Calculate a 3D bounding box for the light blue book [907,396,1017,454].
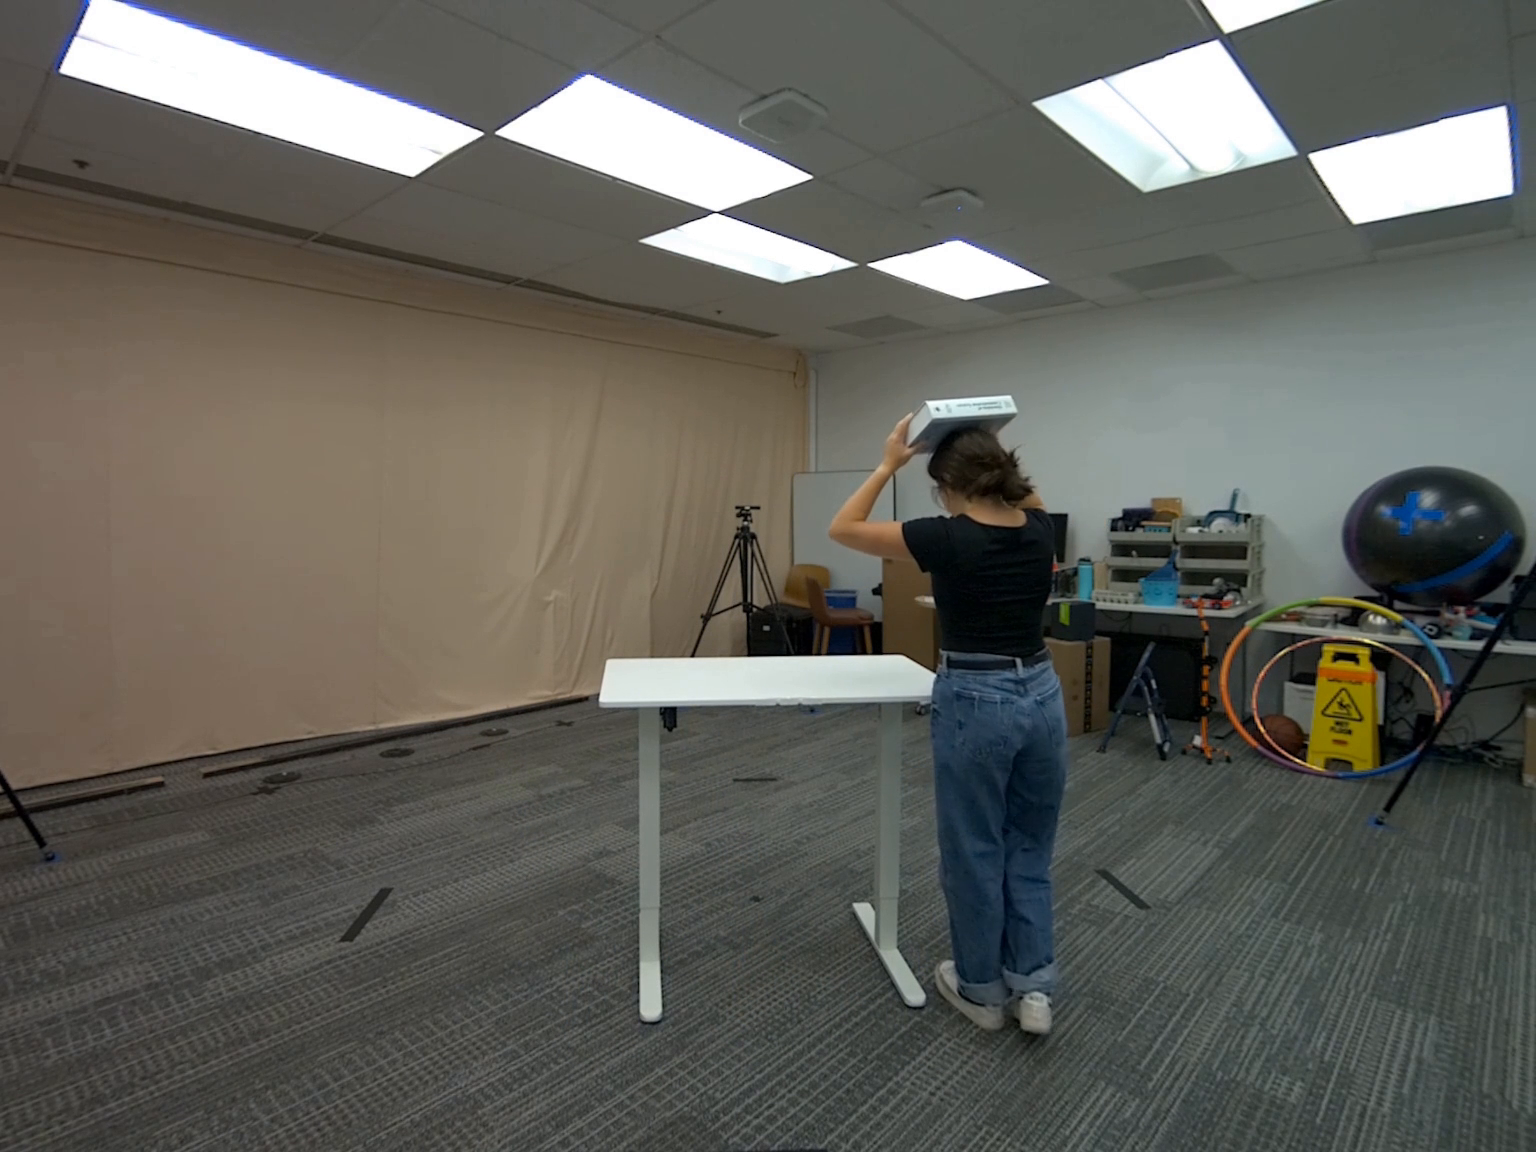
[{"bbox_3d":[0.499,-0.398,2.241,0.257,0.060,0.191,-7,-17,-17],"label":"light blue book"}]
